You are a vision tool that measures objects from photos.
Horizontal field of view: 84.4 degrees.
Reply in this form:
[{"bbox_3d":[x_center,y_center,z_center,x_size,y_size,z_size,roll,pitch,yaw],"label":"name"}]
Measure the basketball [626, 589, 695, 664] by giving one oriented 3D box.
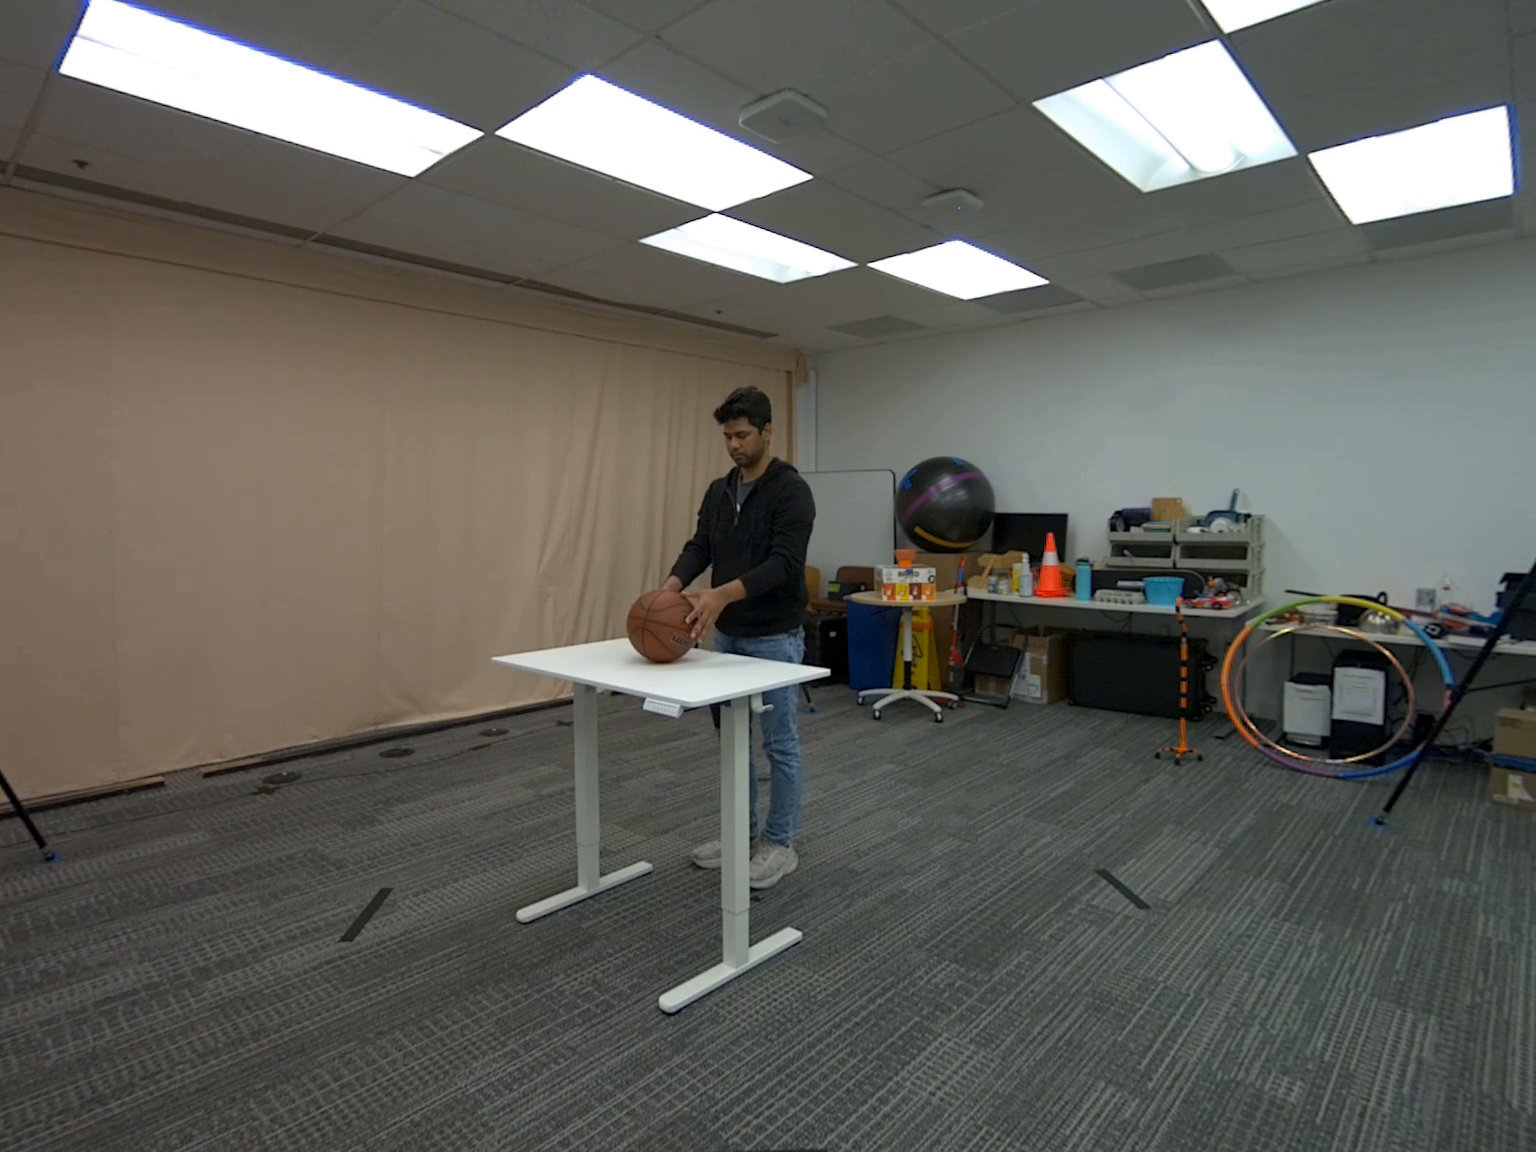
[{"bbox_3d":[-0.341,0.160,2.775,0.236,0.235,0.237,0,4,-2],"label":"basketball"}]
